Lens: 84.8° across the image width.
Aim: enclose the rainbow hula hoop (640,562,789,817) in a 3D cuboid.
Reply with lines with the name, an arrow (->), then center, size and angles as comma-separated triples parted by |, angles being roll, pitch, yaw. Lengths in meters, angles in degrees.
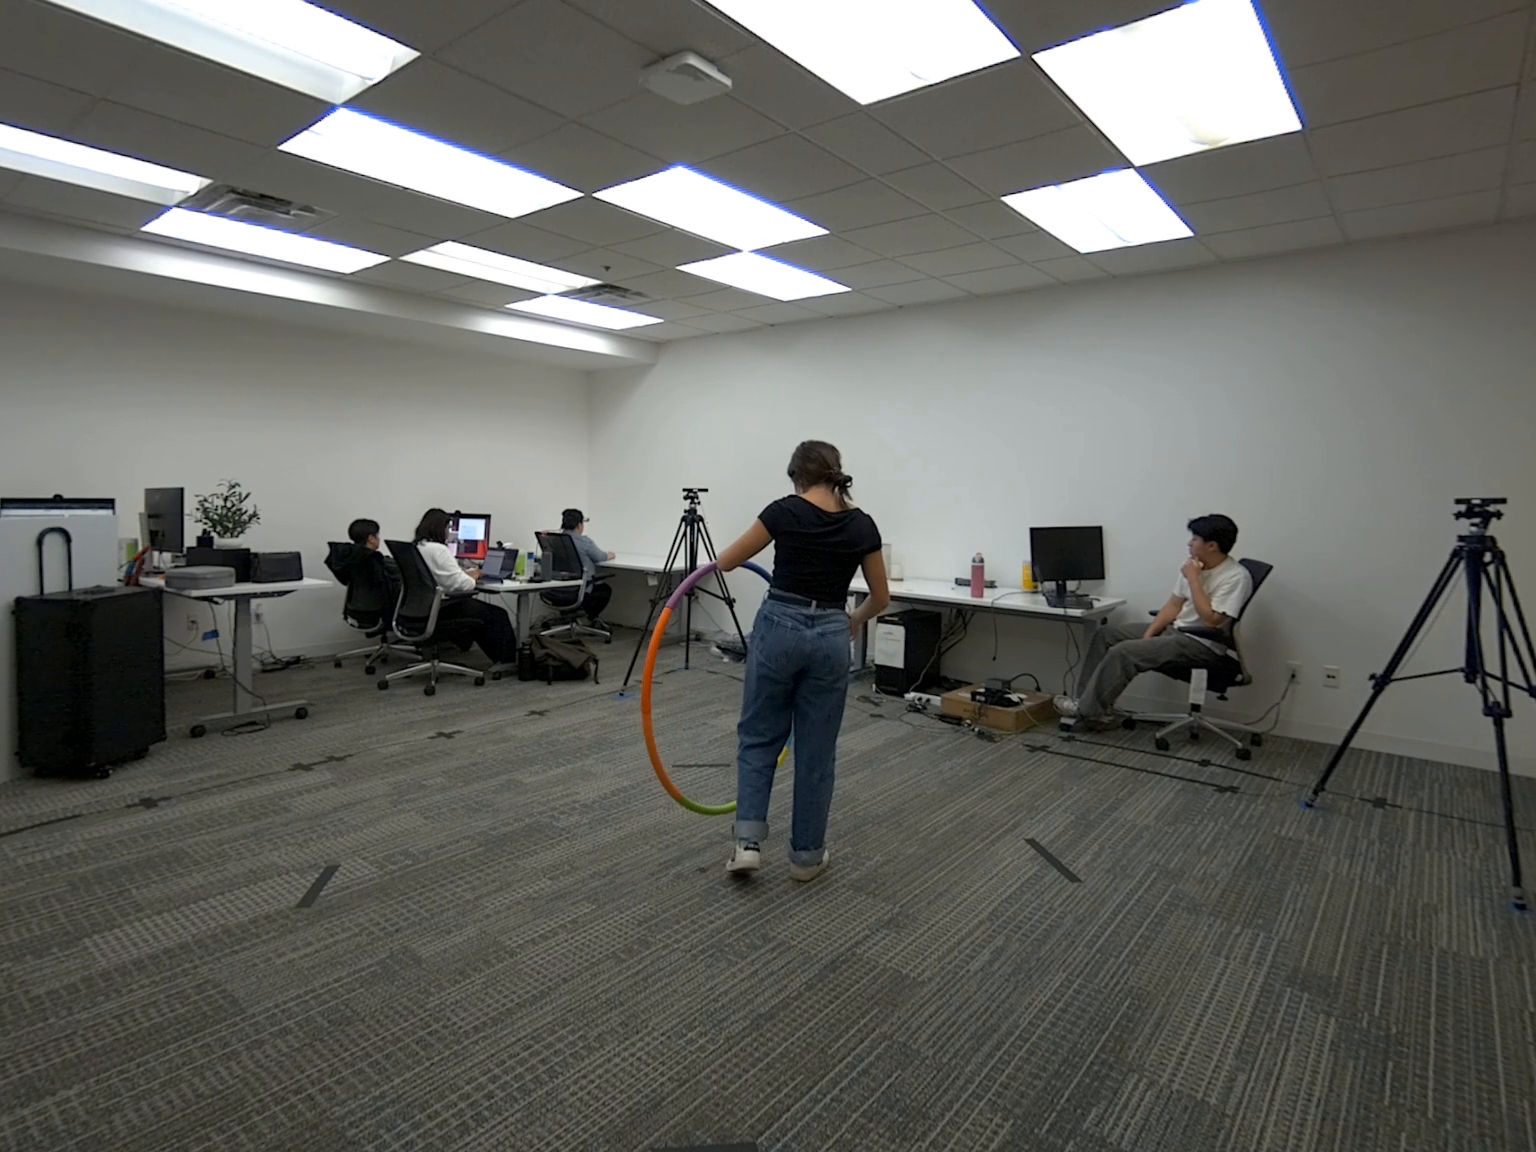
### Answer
rainbow hula hoop -> -0.138, 0.416, 3.309 | 0.037, 0.977, 0.950 | 0, 3, 38
